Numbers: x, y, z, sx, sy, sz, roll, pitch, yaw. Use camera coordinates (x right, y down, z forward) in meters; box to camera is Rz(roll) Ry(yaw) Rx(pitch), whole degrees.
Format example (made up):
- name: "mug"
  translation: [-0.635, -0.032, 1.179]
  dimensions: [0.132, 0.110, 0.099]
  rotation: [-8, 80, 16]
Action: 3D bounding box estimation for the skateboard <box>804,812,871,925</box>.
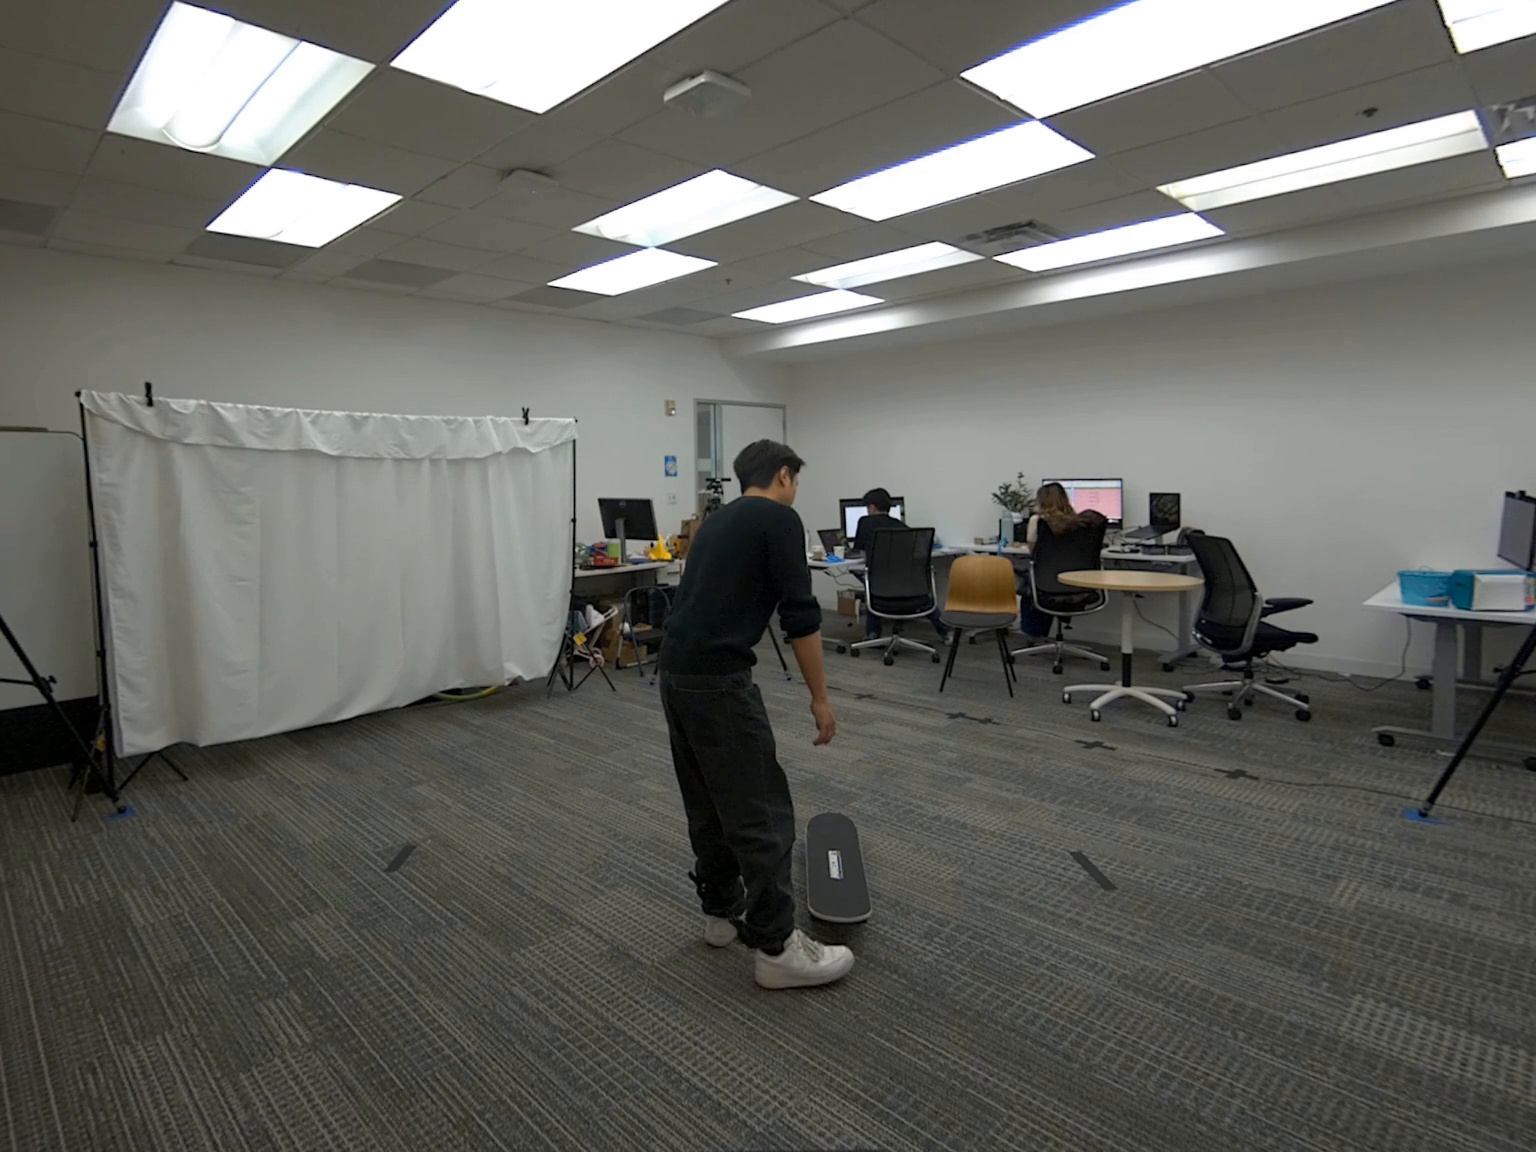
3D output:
- name: "skateboard"
  translation: [0.234, 1.006, 2.892]
  dimensions: [0.194, 0.110, 0.788]
  rotation: [-1, 7, 1]
